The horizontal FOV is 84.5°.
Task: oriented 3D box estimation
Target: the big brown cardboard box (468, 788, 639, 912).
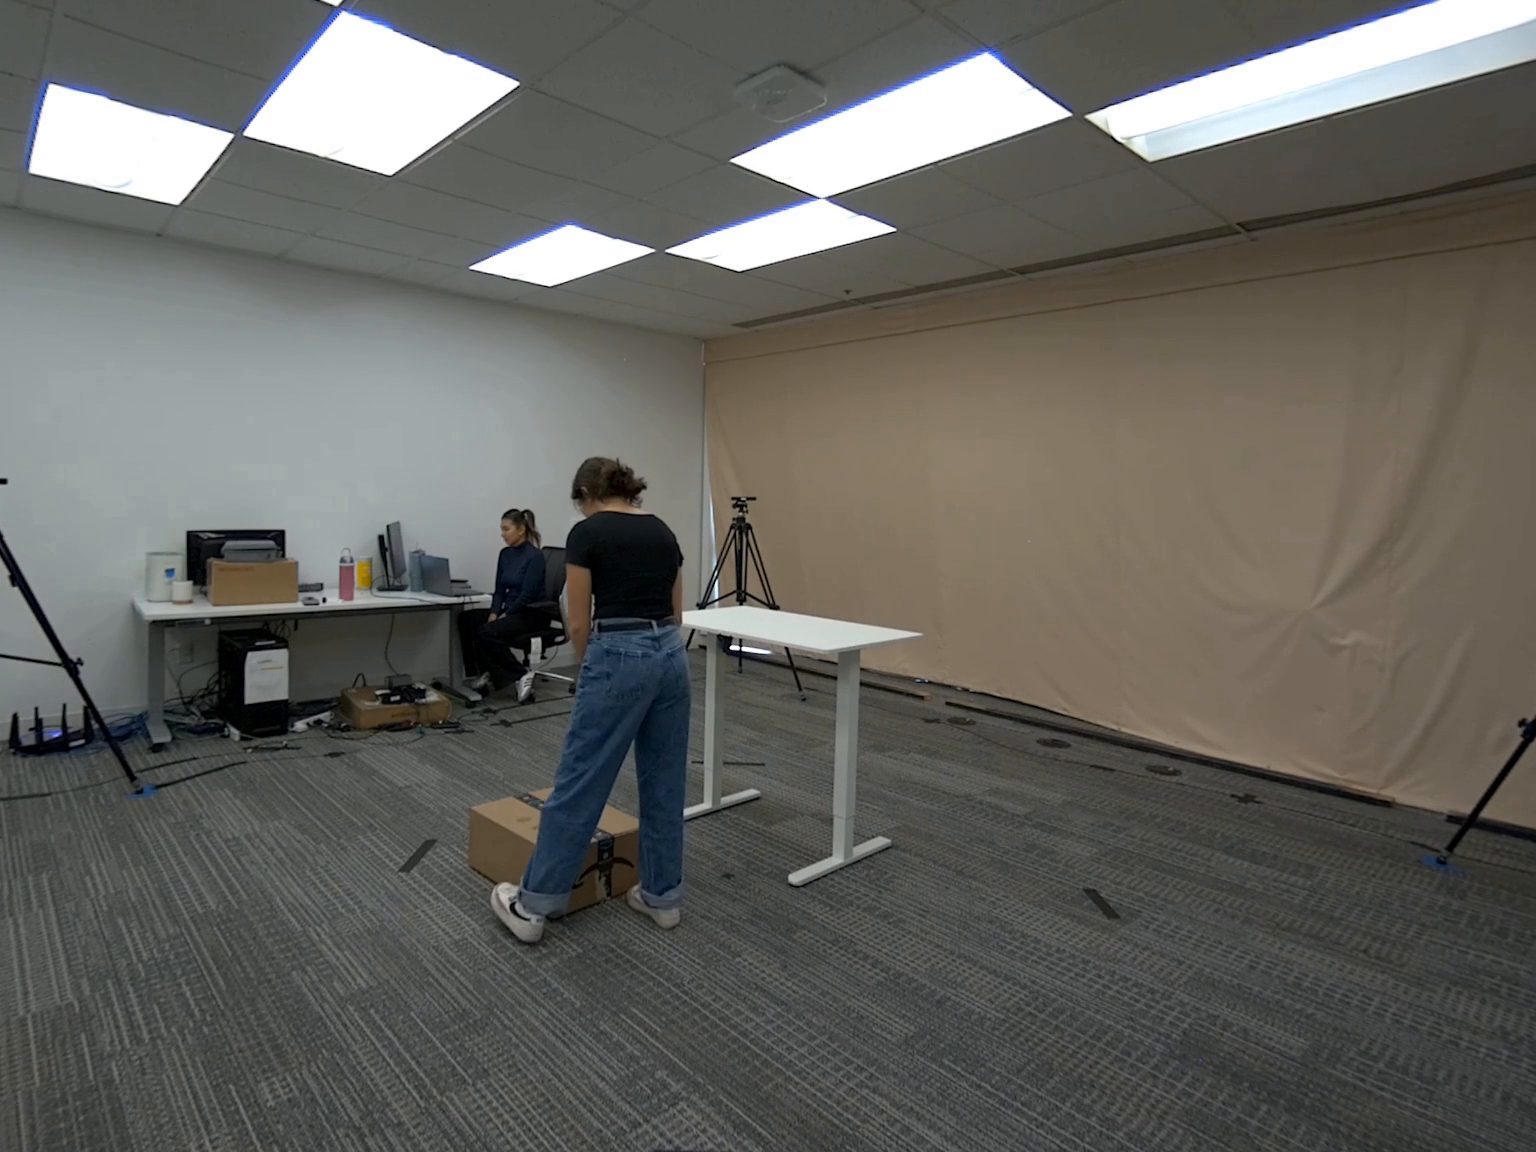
[{"bbox_3d":[-0.776,0.985,3.079,0.604,0.233,0.408,5,5,43],"label":"big brown cardboard box"}]
